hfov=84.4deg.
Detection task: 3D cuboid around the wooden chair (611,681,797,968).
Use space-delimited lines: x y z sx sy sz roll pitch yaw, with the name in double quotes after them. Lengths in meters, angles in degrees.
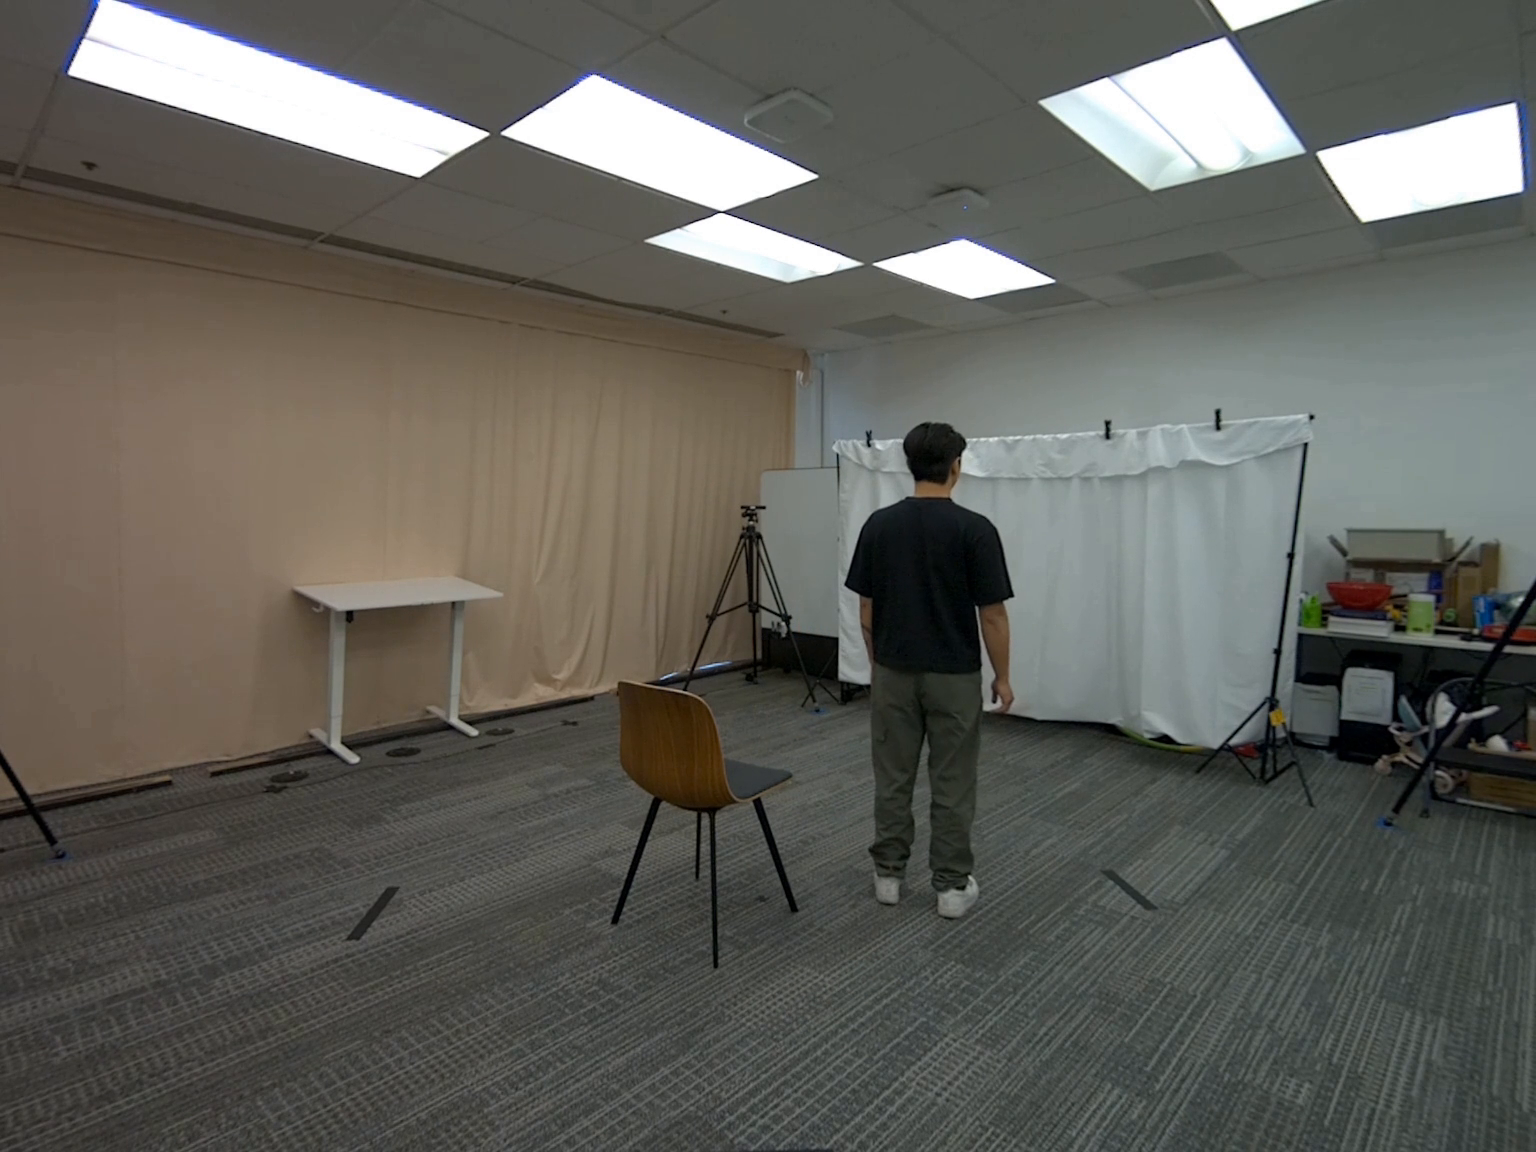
-0.202 0.729 2.829 0.493 0.874 0.509 2 8 36 "wooden chair"
